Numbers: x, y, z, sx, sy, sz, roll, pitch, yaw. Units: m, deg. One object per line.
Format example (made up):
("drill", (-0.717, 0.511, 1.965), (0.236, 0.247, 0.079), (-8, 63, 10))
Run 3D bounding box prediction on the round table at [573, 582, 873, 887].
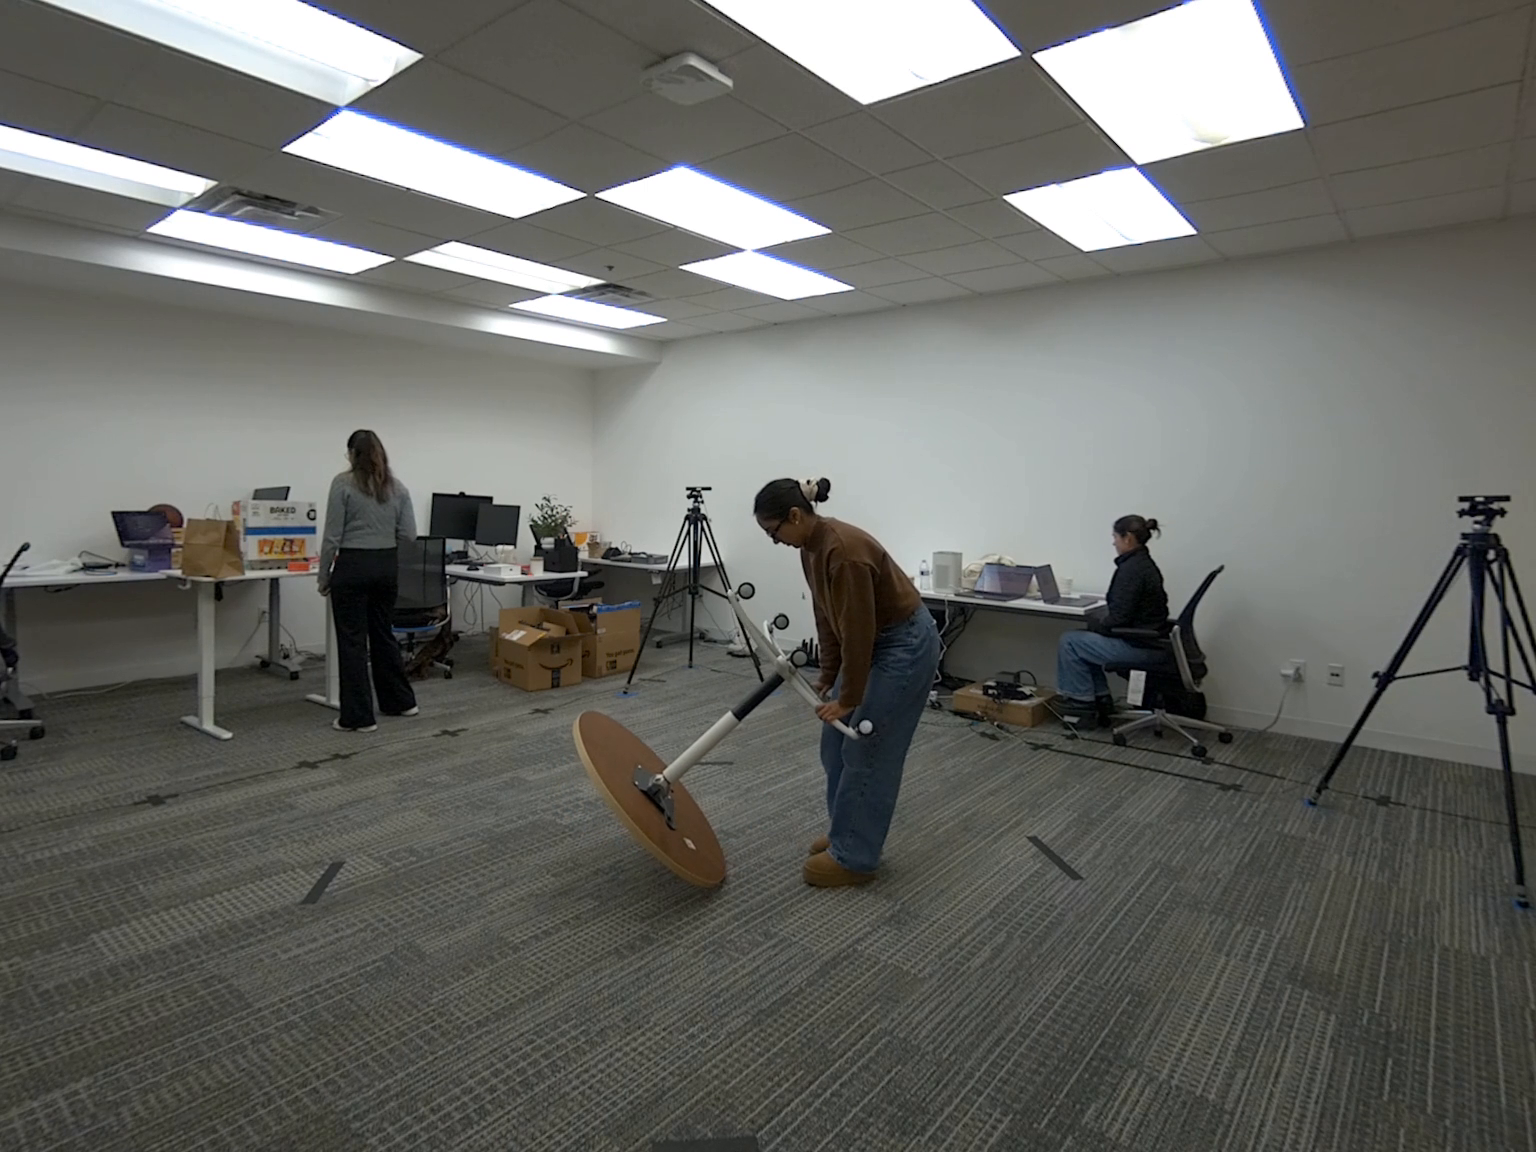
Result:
("round table", (-0.155, 0.525, 3.046), (0.794, 0.761, 0.767), (-43, 4, 2))
